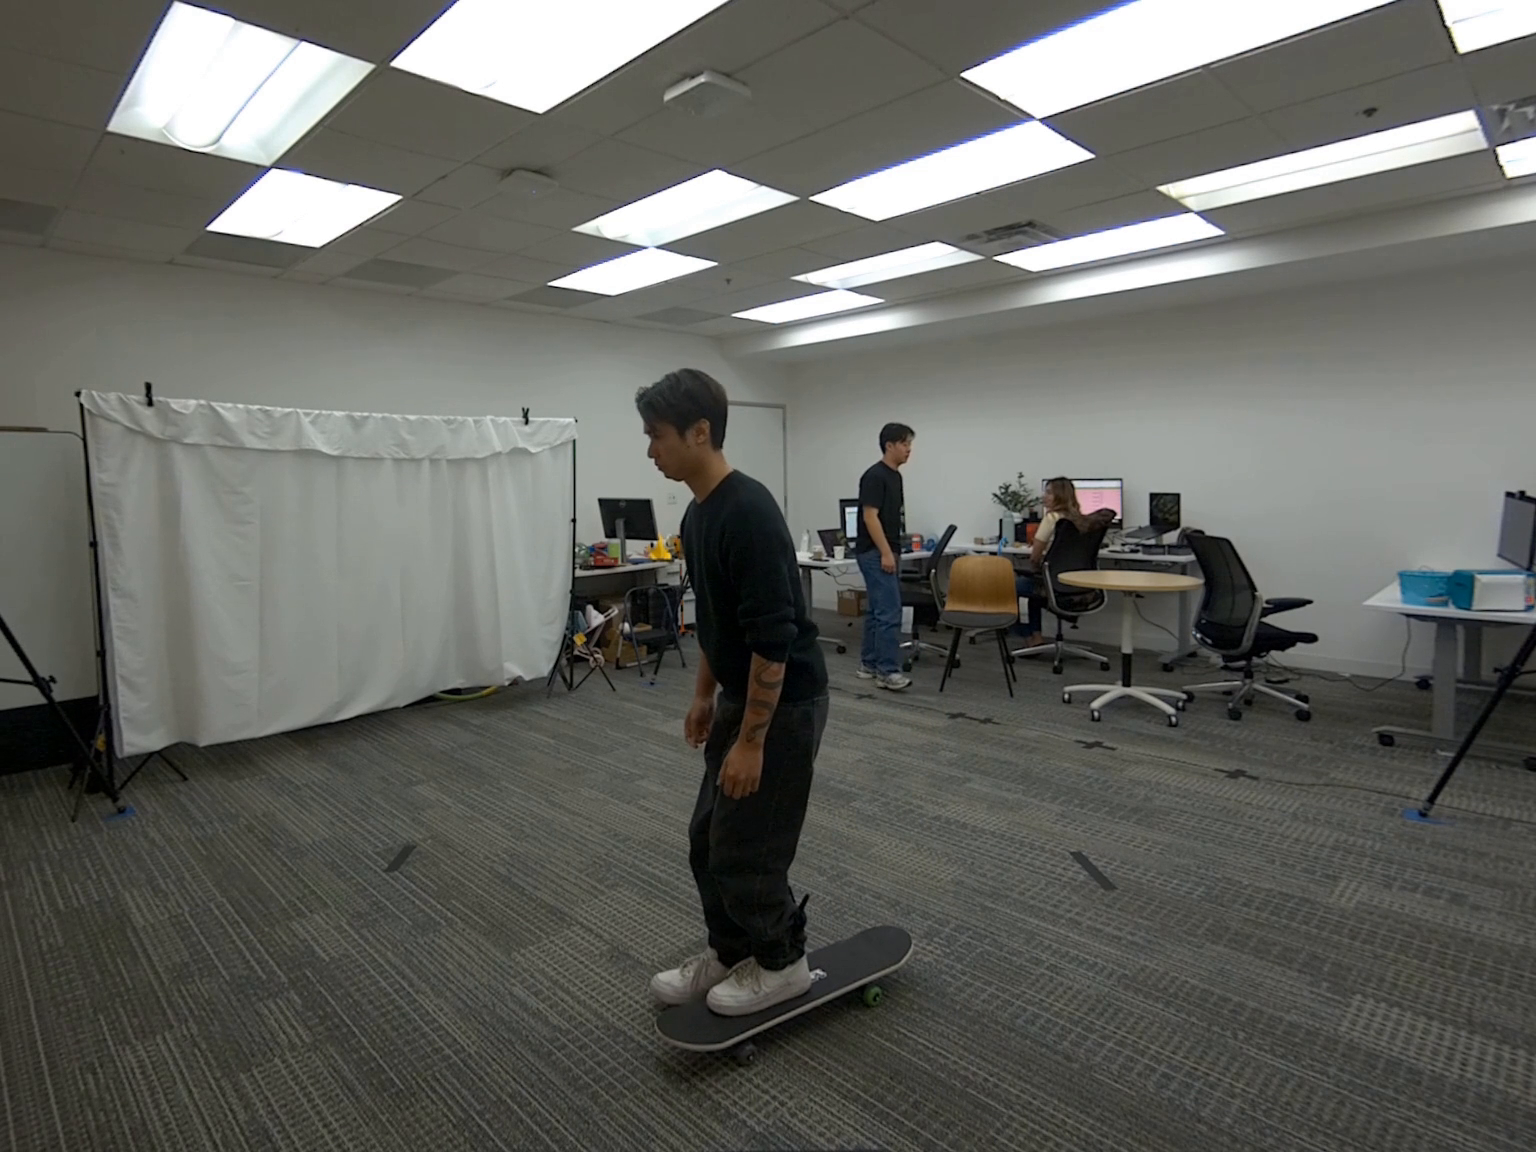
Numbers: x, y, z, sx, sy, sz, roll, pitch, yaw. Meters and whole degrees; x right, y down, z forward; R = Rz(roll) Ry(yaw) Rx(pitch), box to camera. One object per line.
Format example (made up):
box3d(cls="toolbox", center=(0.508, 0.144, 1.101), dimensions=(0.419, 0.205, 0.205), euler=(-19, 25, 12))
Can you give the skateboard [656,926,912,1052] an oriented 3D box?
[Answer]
box3d(cls="skateboard", center=(0.081, 1.093, 2.212), dimensions=(0.766, 0.110, 0.199), euler=(-7, 6, -34))
